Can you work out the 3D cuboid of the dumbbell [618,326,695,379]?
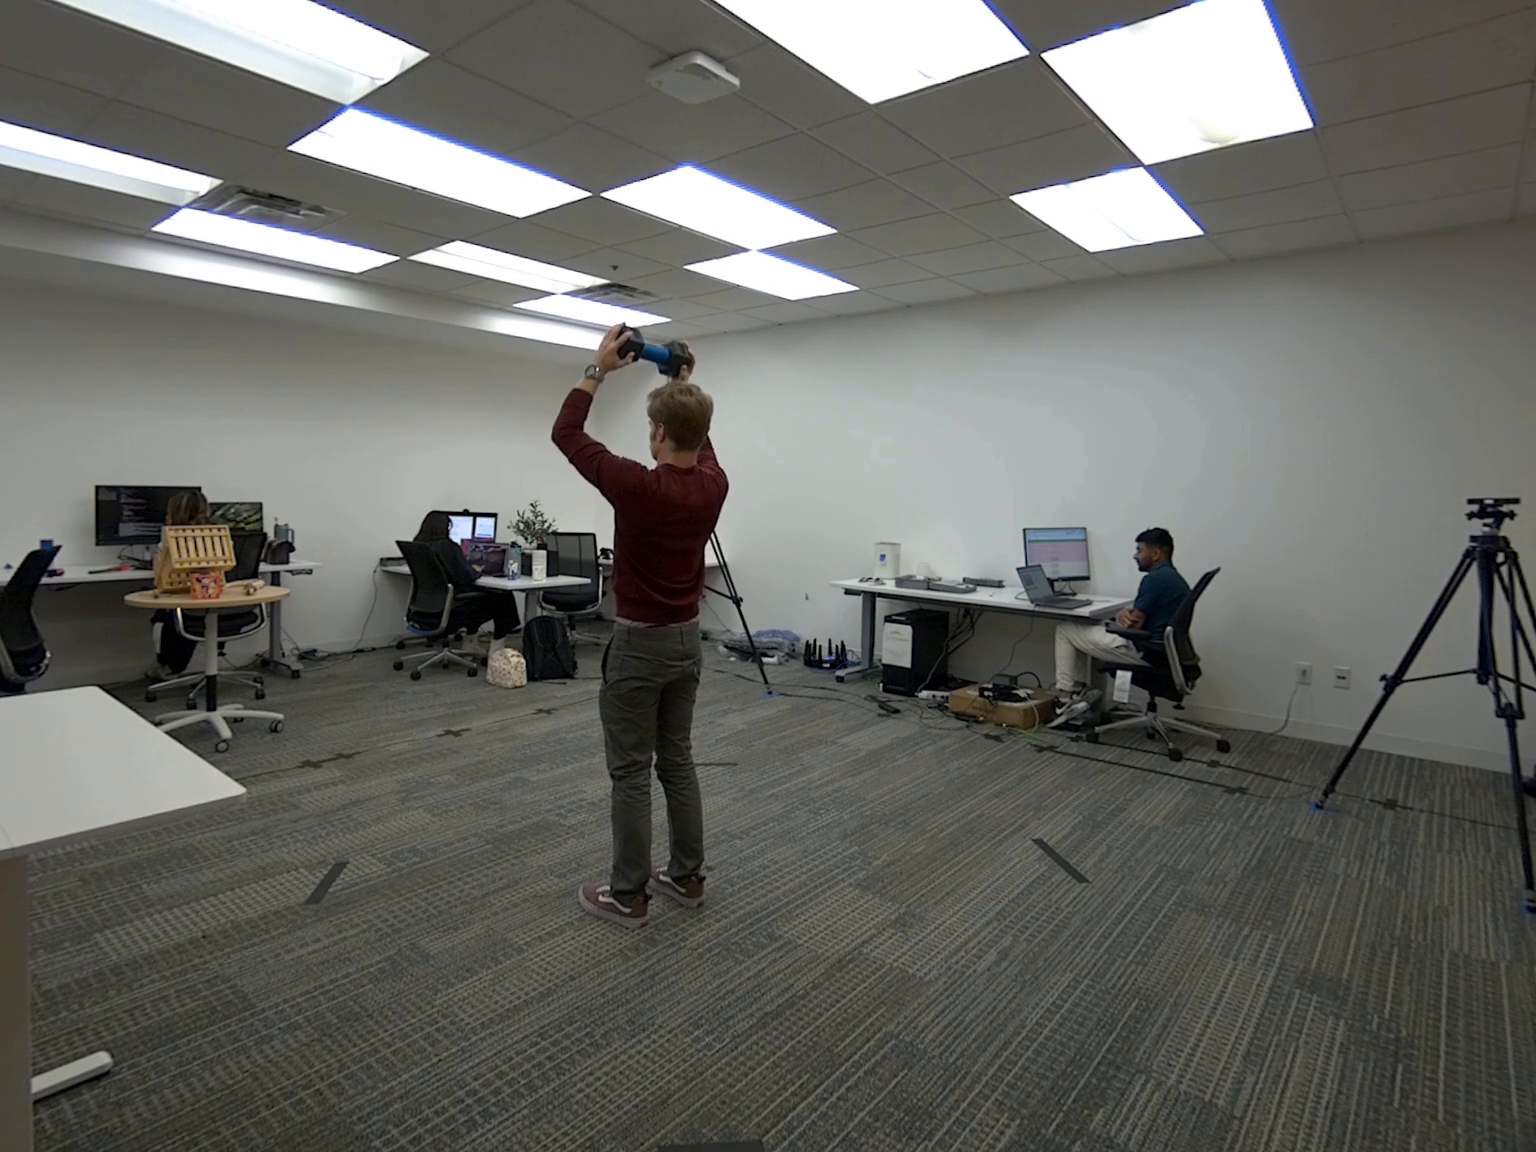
[{"bbox_3d":[-0.399,-0.737,2.809,0.283,0.122,0.113,7,26,-47],"label":"dumbbell"}]
